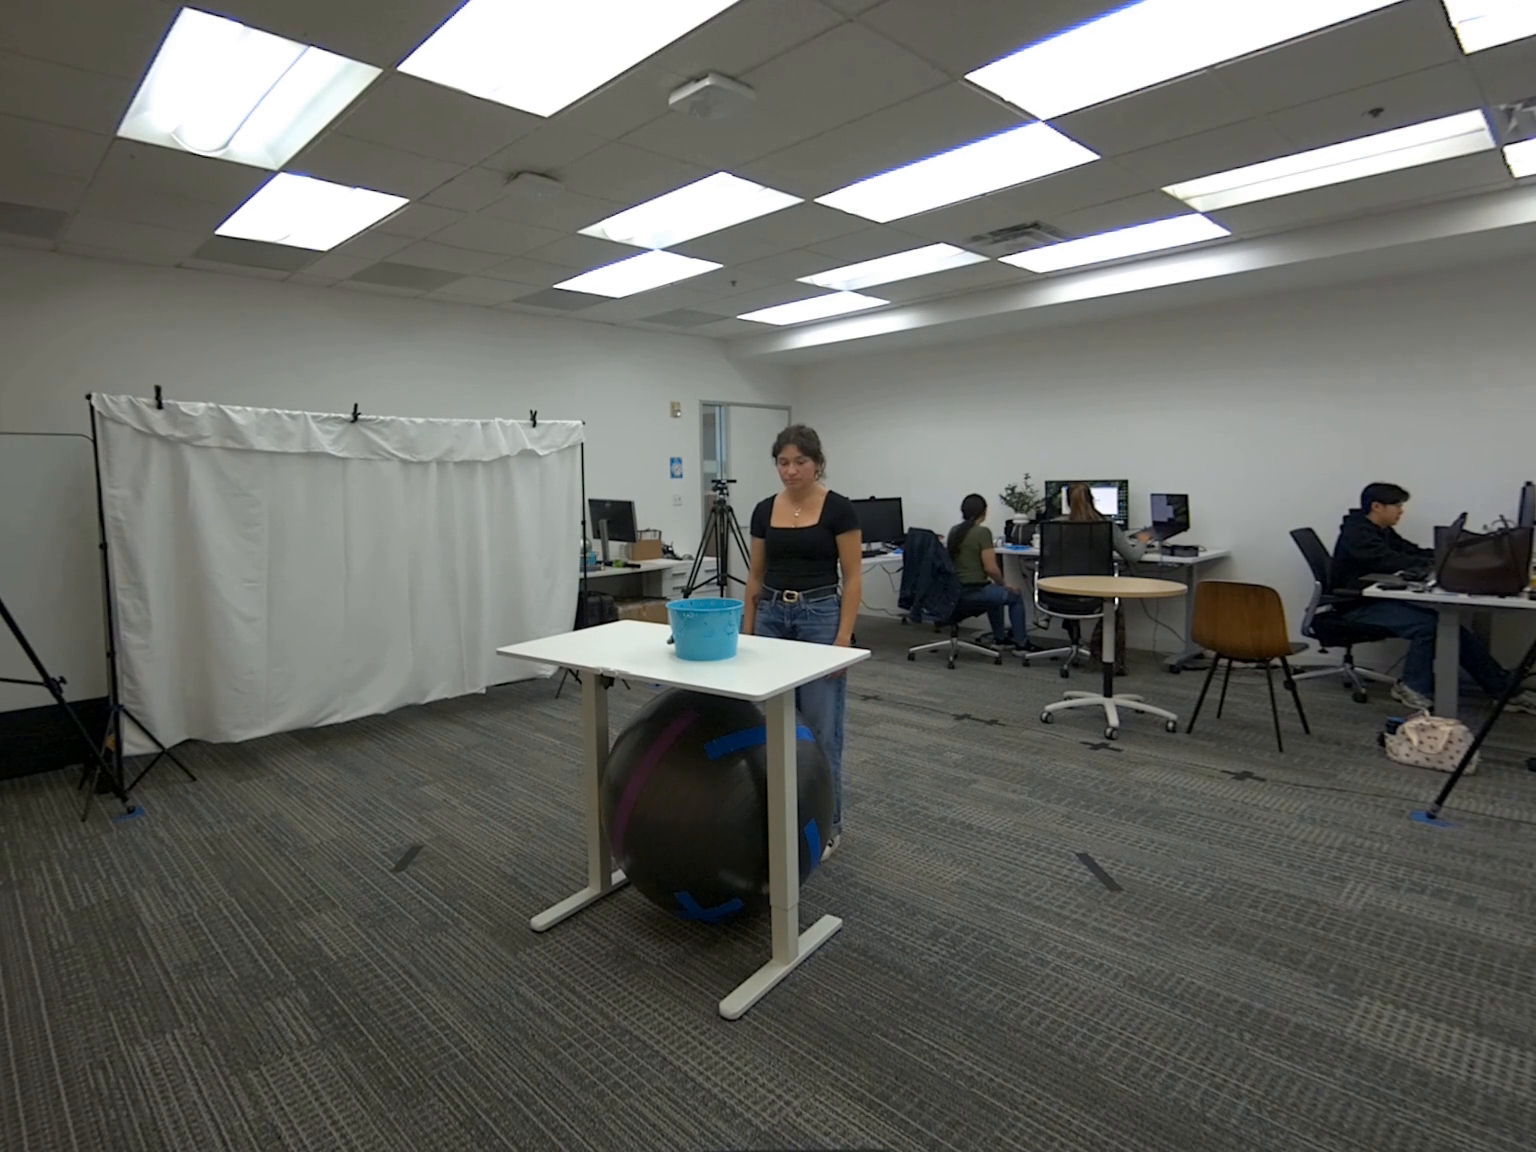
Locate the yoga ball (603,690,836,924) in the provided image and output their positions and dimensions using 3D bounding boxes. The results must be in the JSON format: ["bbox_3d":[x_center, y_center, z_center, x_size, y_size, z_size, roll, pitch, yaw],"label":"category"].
[{"bbox_3d":[-0.164,0.726,2.786,0.757,0.755,0.762,-1,5,-2],"label":"yoga ball"}]
